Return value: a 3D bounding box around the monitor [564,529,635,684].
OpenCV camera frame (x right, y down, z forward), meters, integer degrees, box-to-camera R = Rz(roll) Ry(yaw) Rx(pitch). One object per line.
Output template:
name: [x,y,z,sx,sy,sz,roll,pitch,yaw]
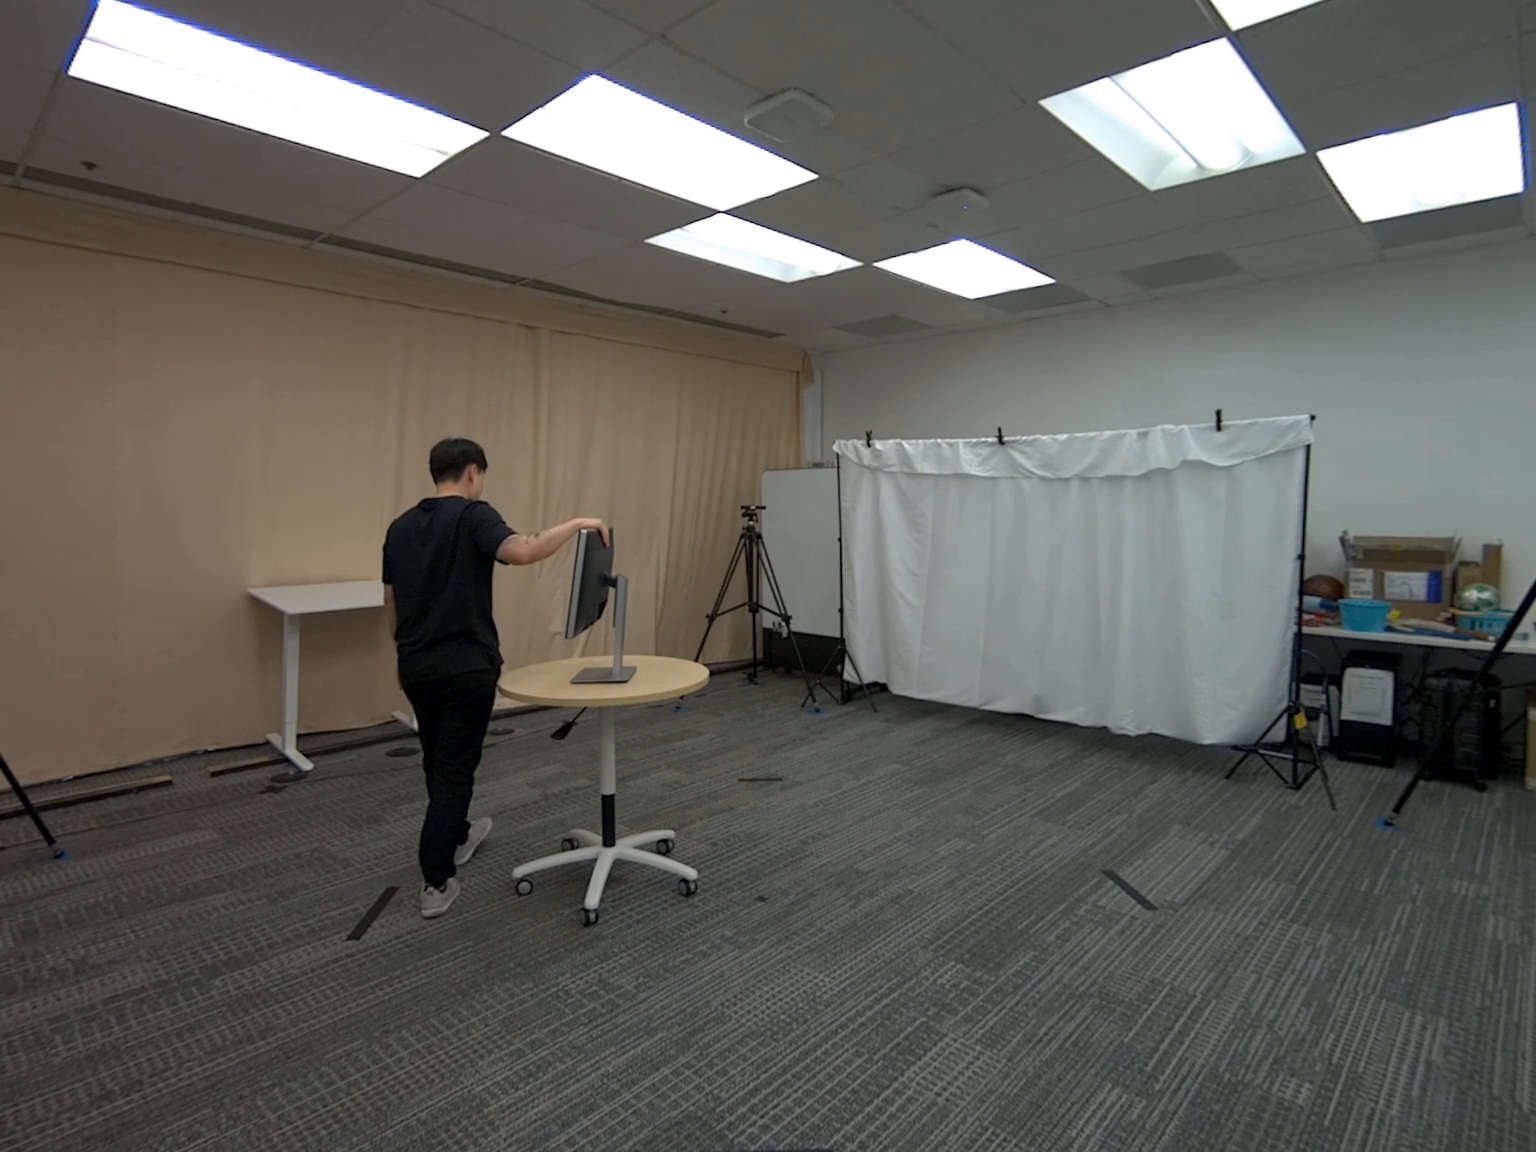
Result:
monitor: [-0.591,0.104,3.031,0.187,0.521,0.541,-3,3,-3]
